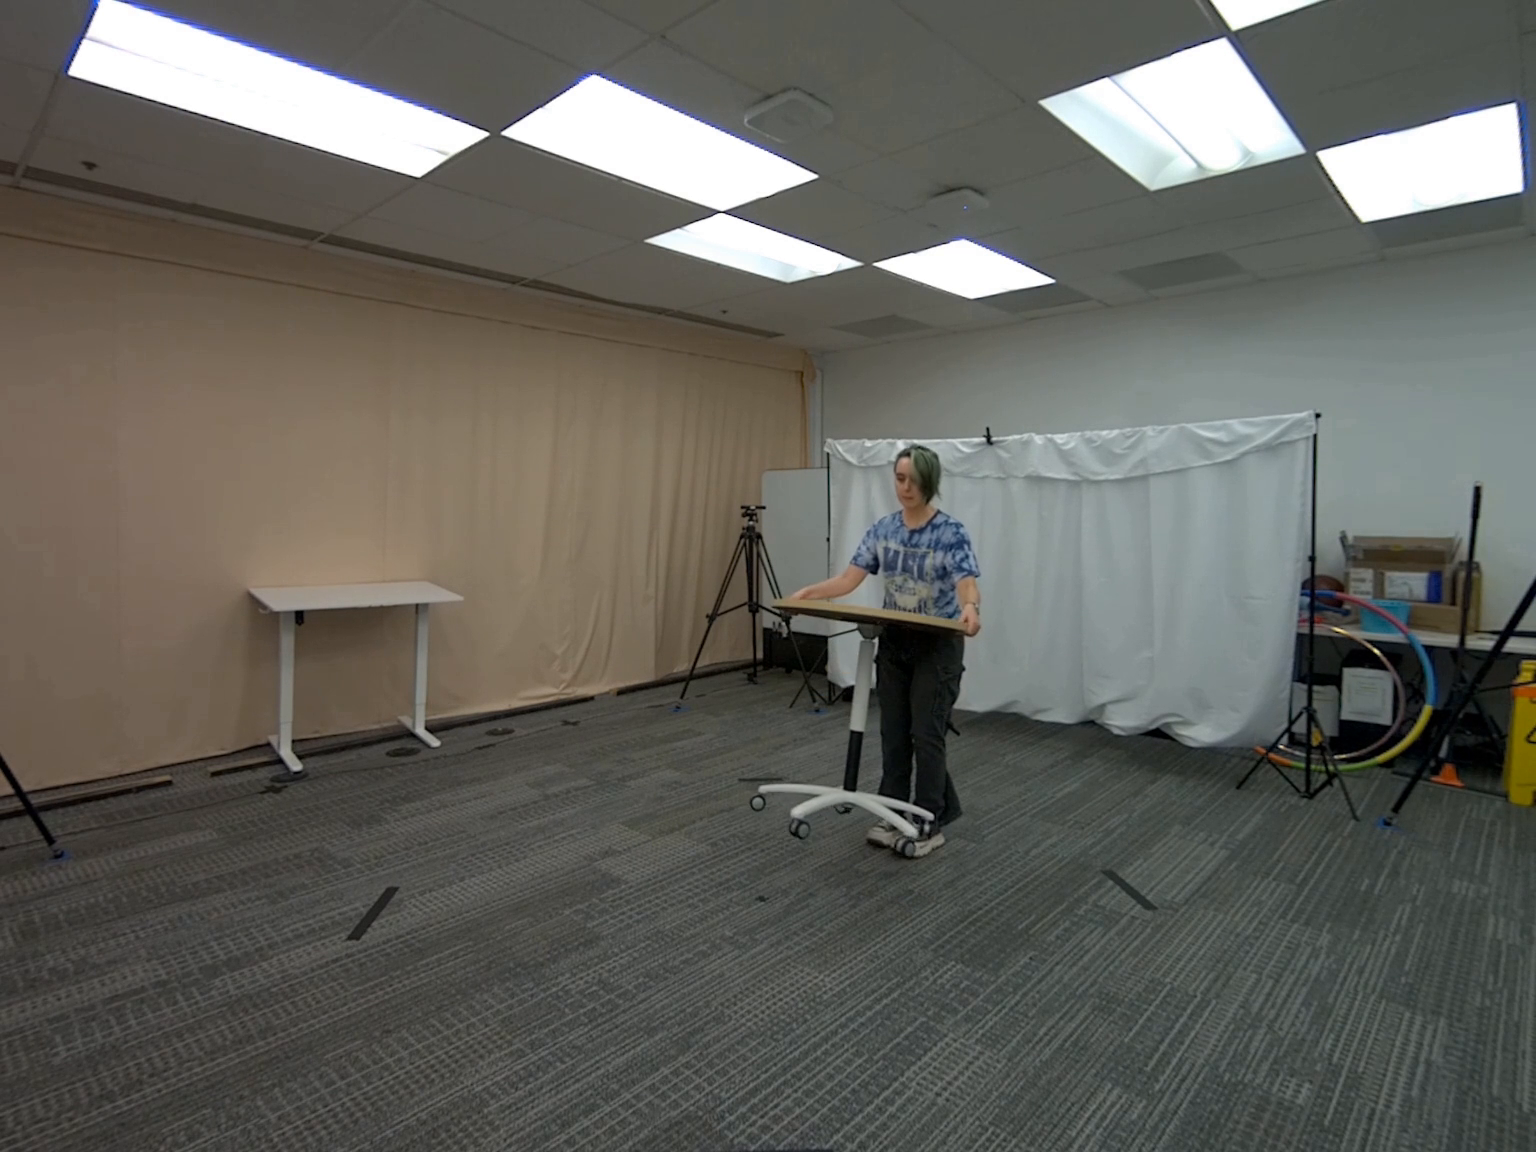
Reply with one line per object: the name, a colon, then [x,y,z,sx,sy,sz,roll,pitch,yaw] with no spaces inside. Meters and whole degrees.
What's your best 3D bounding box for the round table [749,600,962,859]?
round table: [0.337,0.550,3.148,0.764,0.796,0.762,8,-5,-1]
